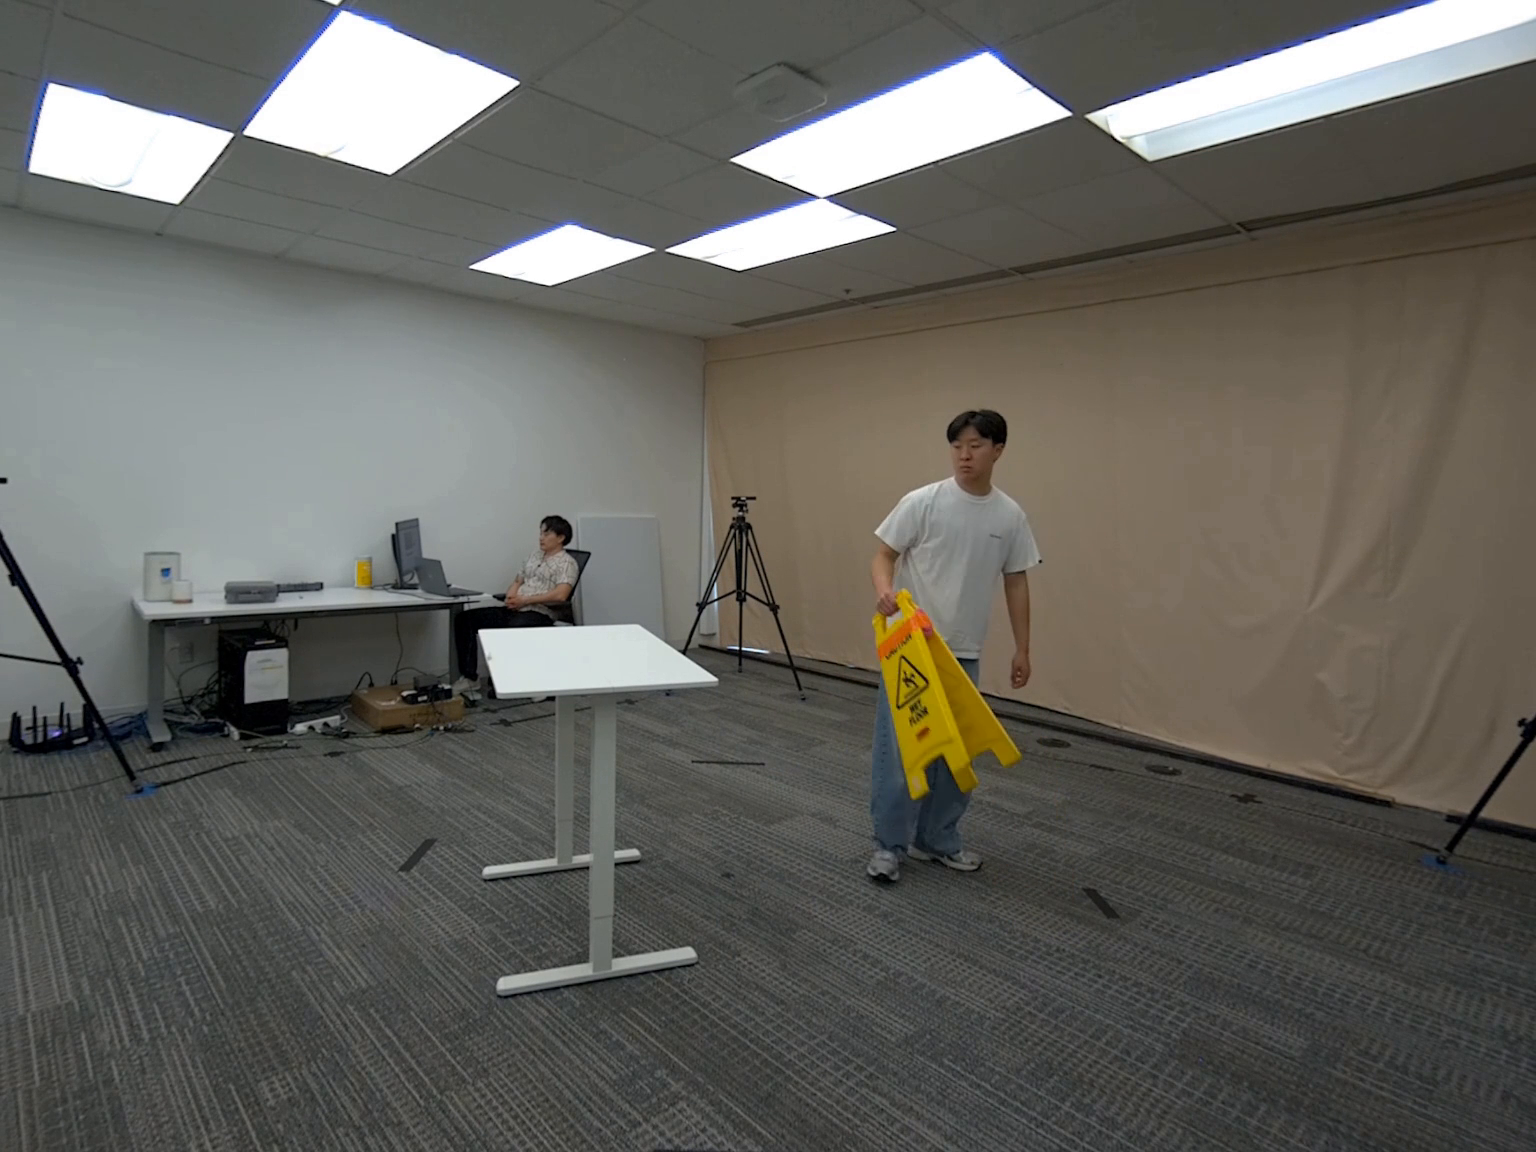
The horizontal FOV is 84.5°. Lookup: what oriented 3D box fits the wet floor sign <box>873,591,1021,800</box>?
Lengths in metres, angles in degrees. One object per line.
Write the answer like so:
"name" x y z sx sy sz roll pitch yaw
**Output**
"wet floor sign" 0.514 0.359 2.781 0.283 0.663 0.281 -1 -36 -34
